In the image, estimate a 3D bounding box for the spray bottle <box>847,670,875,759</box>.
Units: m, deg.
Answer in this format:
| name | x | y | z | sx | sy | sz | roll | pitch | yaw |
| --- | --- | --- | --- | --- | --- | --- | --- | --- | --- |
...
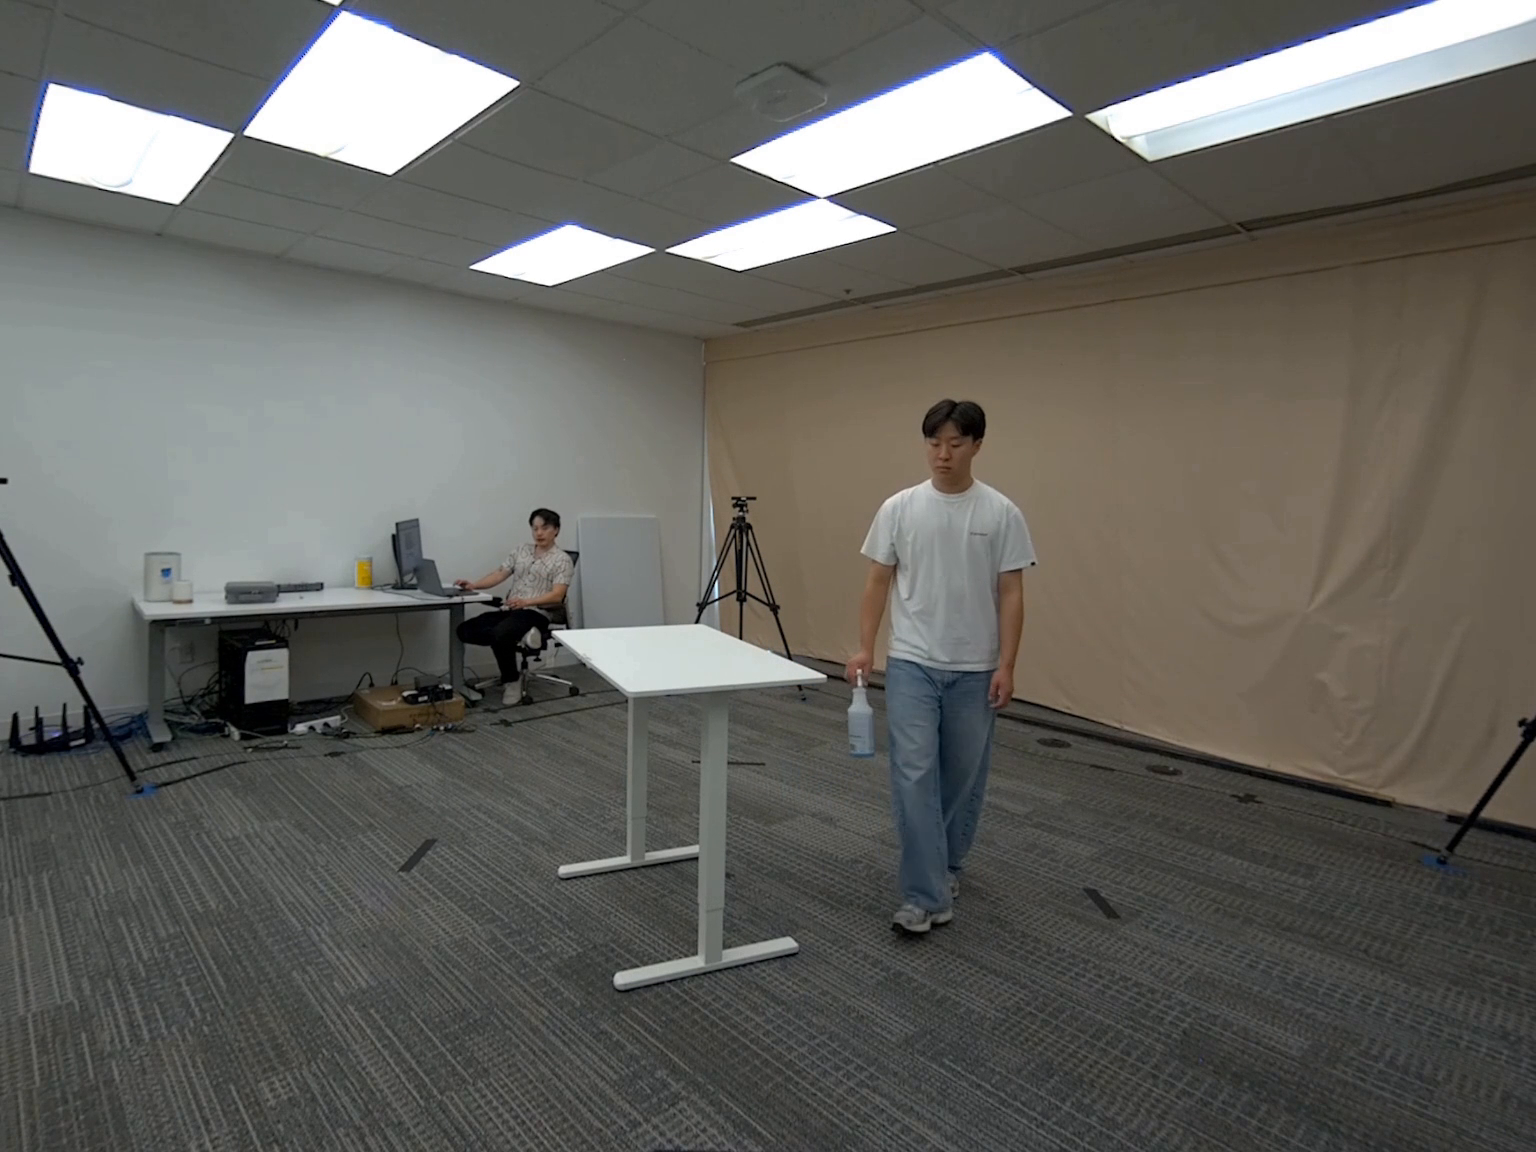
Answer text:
| name | x | y | z | sx | sy | sz | roll | pitch | yaw |
| --- | --- | --- | --- | --- | --- | --- | --- | --- | --- |
| spray bottle | 0.311 | 0.465 | 2.887 | 0.089 | 0.298 | 0.088 | -4 | -3 | 28 |
